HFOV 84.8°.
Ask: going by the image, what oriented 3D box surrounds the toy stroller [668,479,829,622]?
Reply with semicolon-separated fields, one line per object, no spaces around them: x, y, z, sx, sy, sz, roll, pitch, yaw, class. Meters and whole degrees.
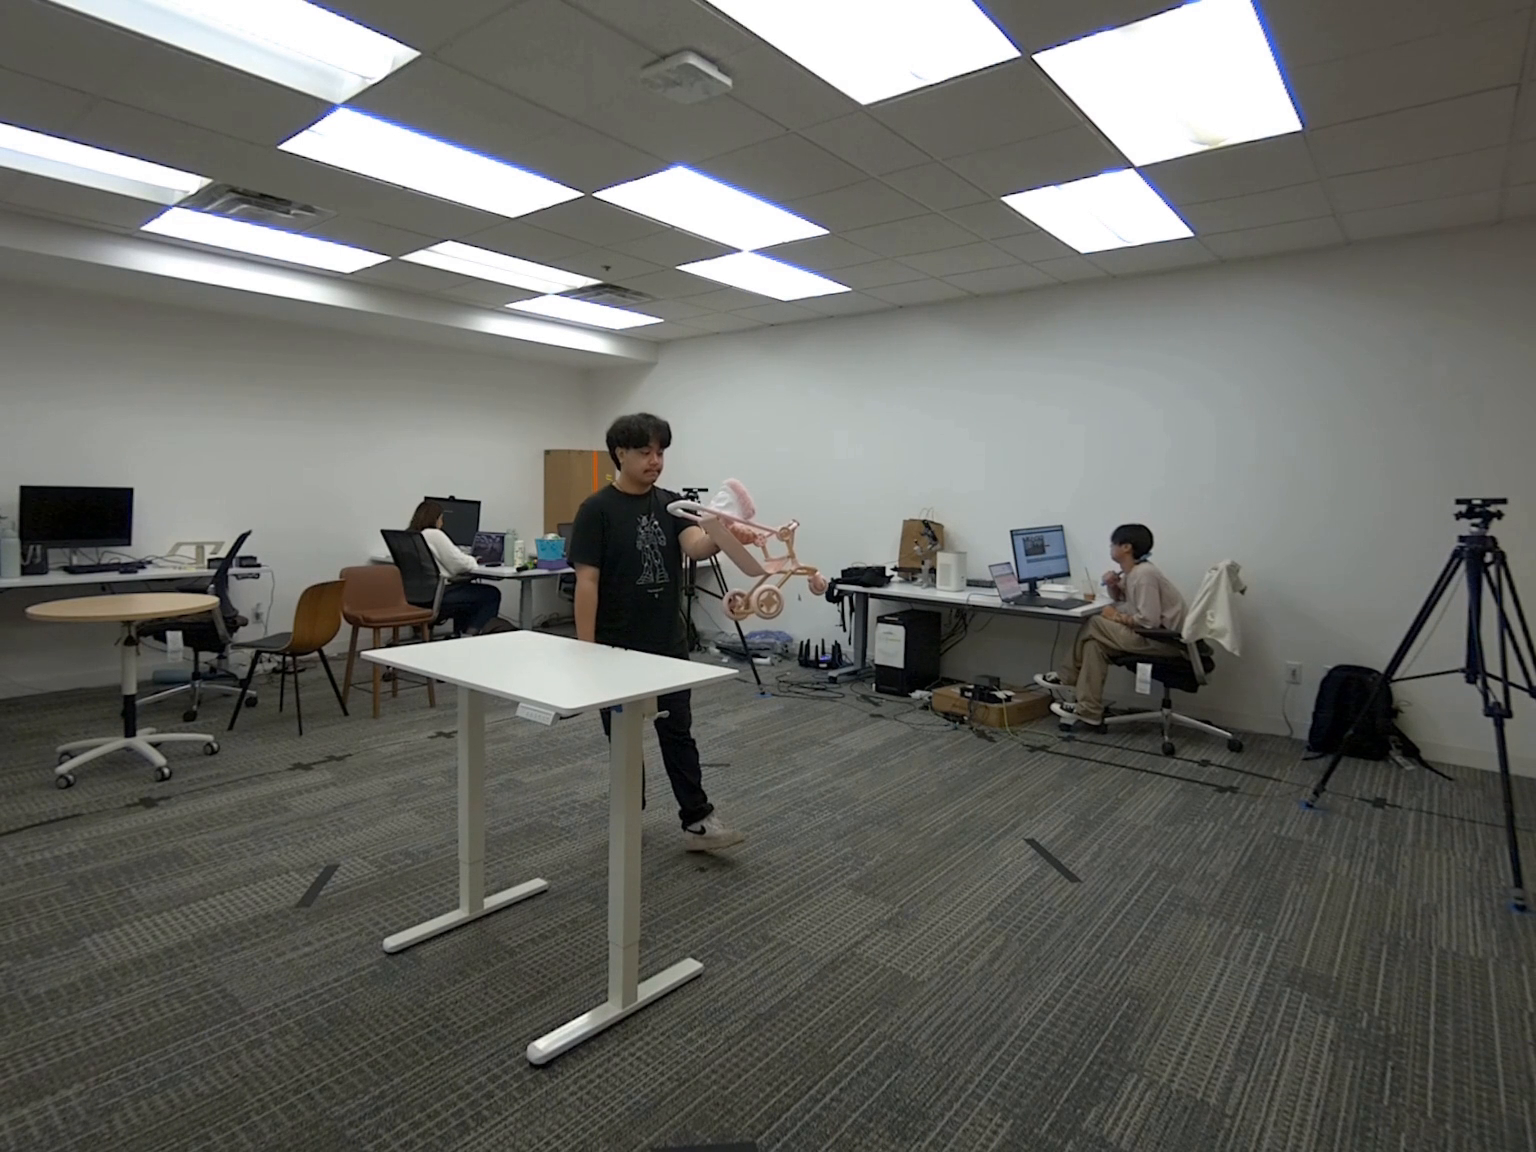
-0.055;-0.096;2.823;0.339;0.531;0.285;-33;6;-17;toy stroller
